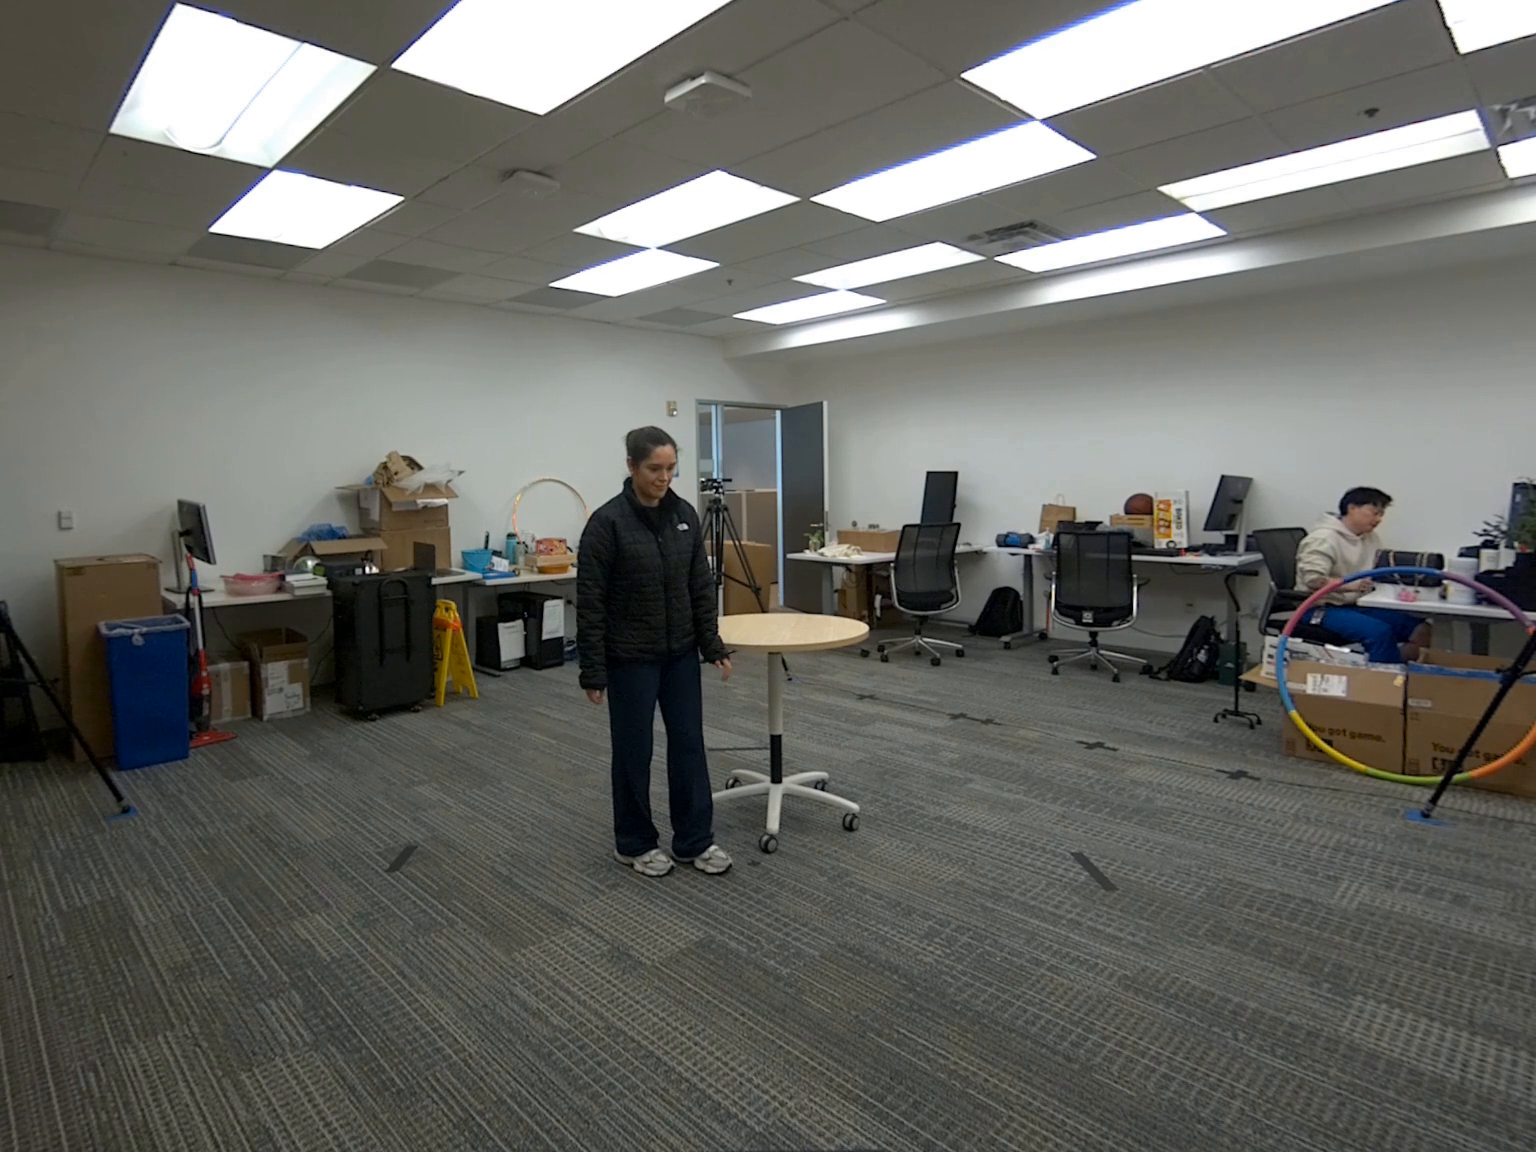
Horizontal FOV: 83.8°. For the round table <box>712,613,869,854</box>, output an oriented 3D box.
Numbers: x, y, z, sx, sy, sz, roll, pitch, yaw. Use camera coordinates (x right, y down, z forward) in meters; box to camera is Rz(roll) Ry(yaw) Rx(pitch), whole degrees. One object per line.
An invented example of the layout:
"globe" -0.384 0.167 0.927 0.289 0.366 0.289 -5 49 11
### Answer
"round table" 0.025 0.602 3.524 0.784 0.784 0.788 -1 4 -2
